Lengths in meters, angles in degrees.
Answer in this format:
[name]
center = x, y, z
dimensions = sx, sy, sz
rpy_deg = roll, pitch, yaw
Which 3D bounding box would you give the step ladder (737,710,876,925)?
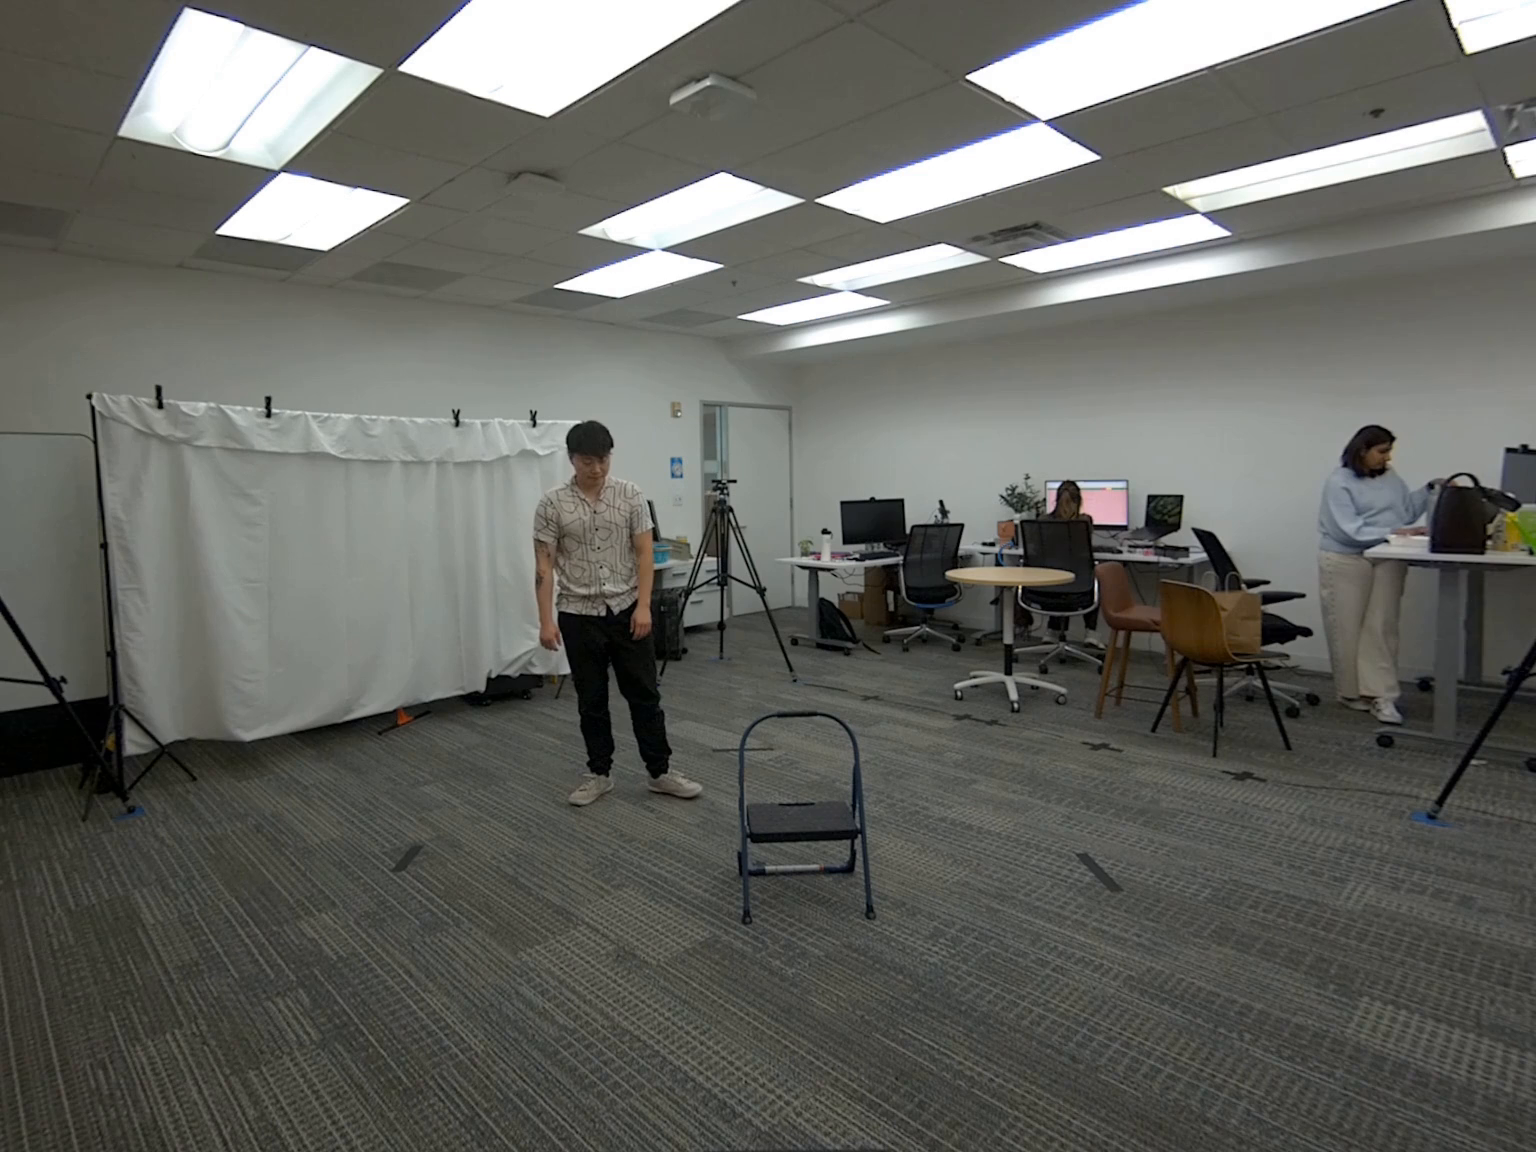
[step ladder]
center = 0.114, 0.773, 2.856
dimensions = 0.429, 0.604, 0.352
rpy_deg = -1, 5, -4
